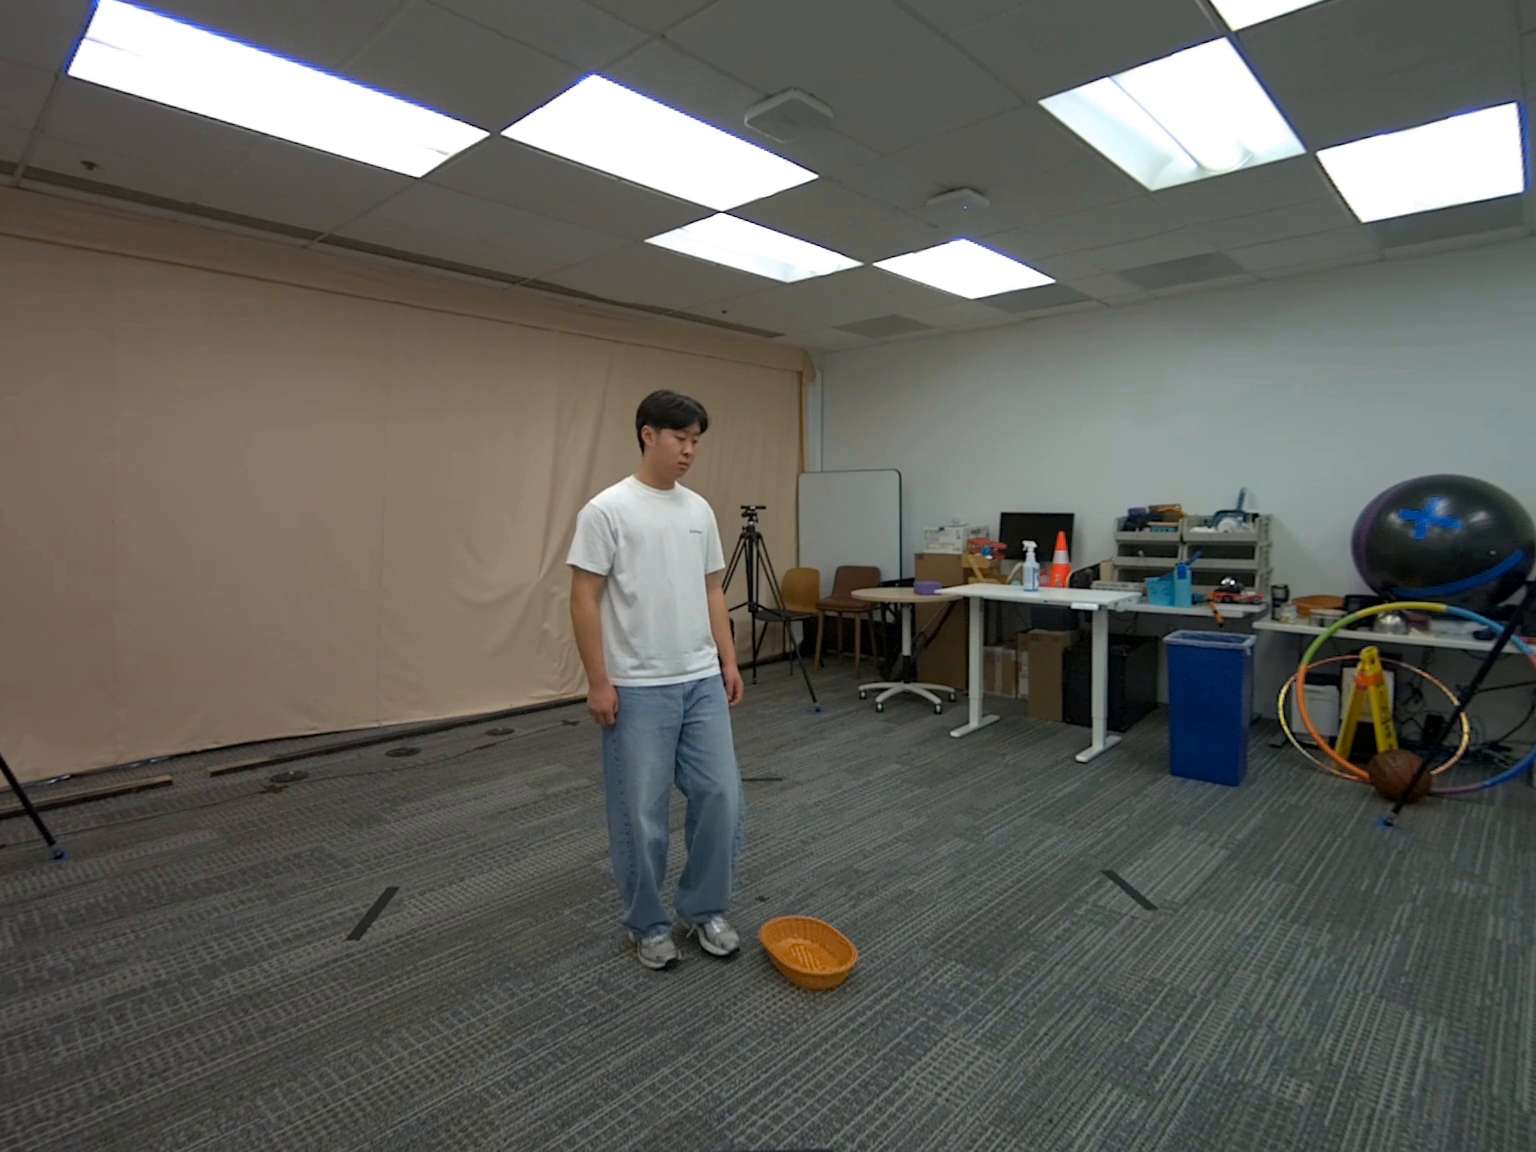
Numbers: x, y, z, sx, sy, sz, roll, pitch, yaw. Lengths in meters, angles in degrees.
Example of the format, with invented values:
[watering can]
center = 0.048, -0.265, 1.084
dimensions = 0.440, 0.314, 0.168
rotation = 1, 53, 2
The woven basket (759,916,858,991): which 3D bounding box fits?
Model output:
[woven basket]
center = 0.124, 1.140, 2.546
dimensions = 0.246, 0.073, 0.359
rotation = -1, 4, -25
